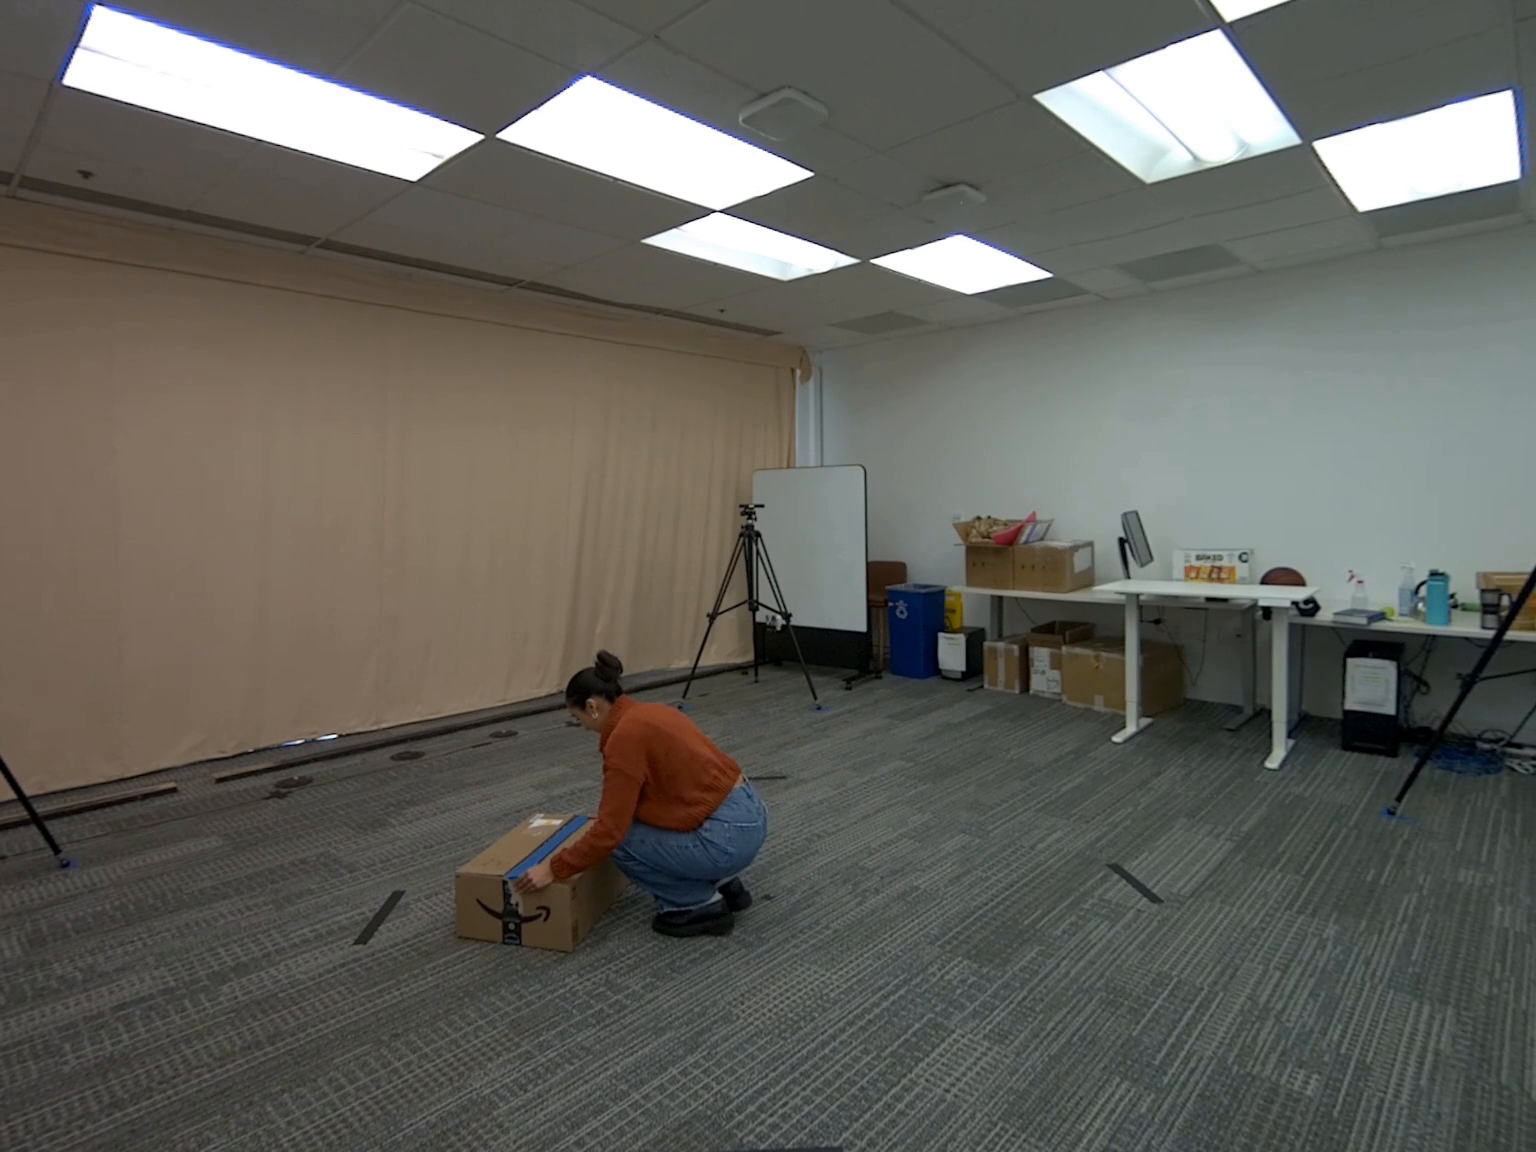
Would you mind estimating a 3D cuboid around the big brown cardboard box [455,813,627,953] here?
[{"bbox_3d":[-0.760,1.052,2.966,0.424,0.232,0.582,0,5,13],"label":"big brown cardboard box"}]
